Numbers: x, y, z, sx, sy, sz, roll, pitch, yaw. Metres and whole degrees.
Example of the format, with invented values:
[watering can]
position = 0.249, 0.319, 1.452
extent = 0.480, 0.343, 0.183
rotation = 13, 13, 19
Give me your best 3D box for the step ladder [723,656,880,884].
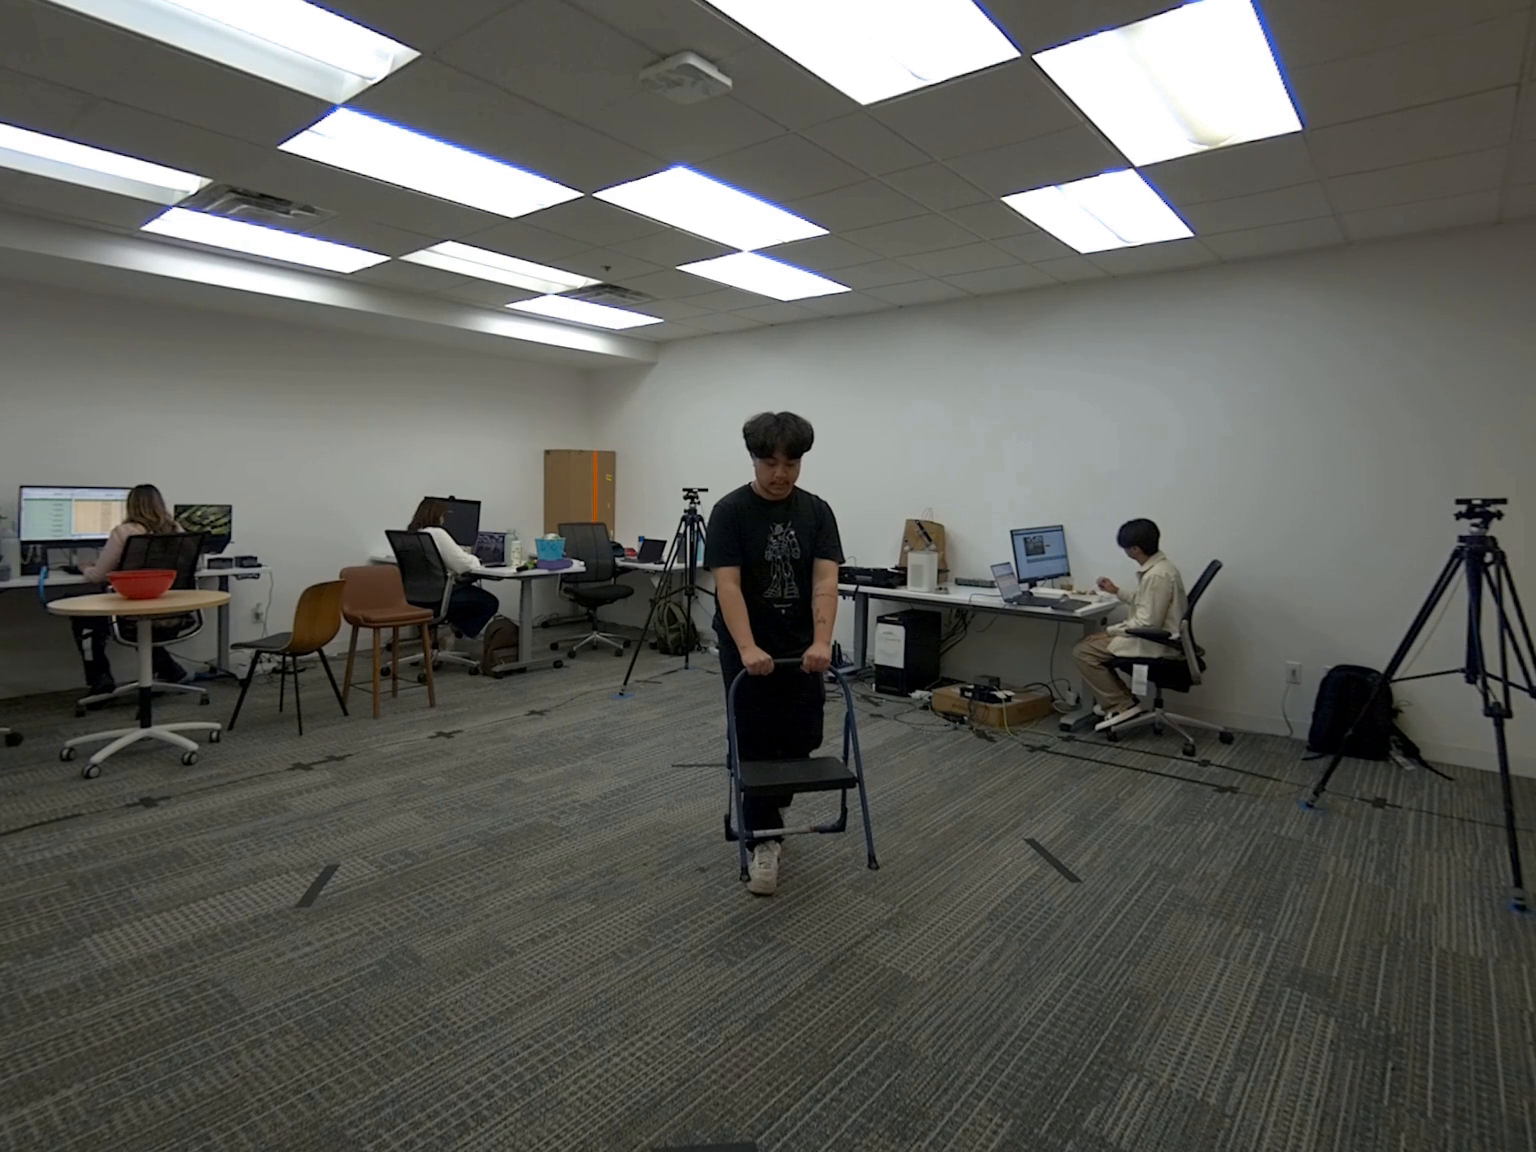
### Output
[step ladder]
position = 0.087, 0.582, 2.705
extent = 0.426, 0.606, 0.353
rotation = -2, 0, -10
